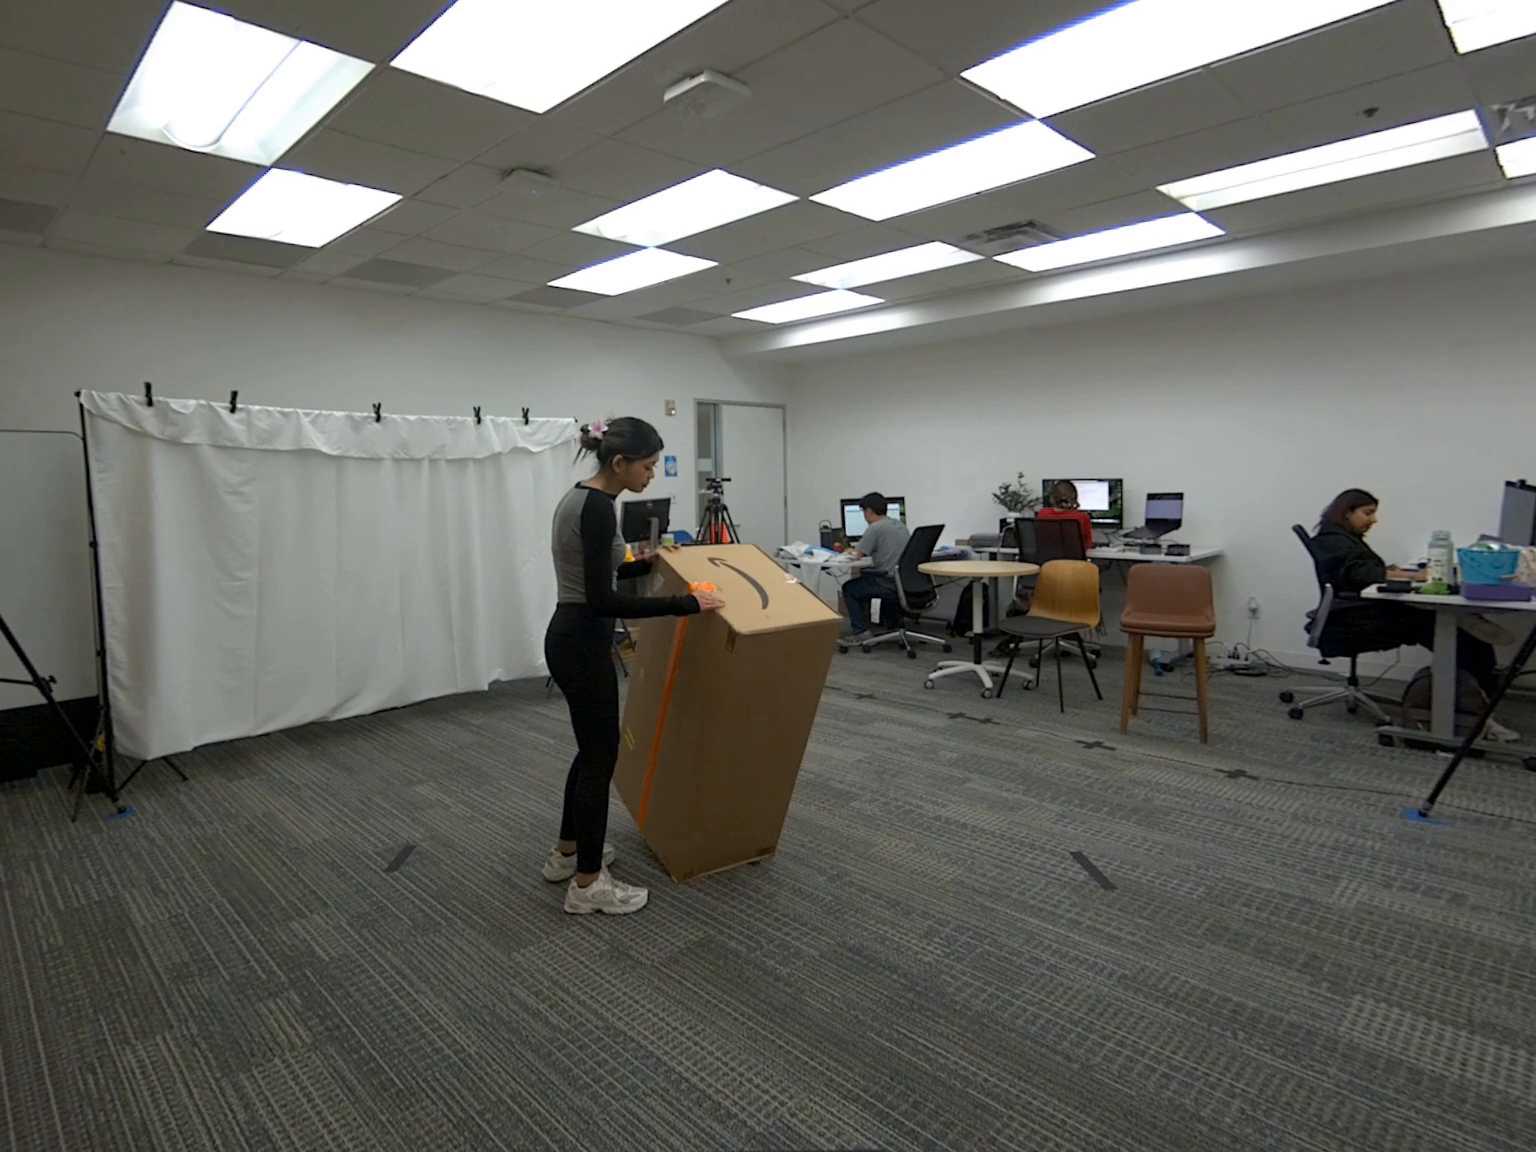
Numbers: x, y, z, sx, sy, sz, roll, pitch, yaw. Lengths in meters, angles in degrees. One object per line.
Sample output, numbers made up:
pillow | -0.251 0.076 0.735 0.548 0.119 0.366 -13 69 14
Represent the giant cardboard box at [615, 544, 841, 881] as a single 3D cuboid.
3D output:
giant cardboard box | -0.187 0.475 3.084 0.435 1.013 0.607 -3 28 -36
